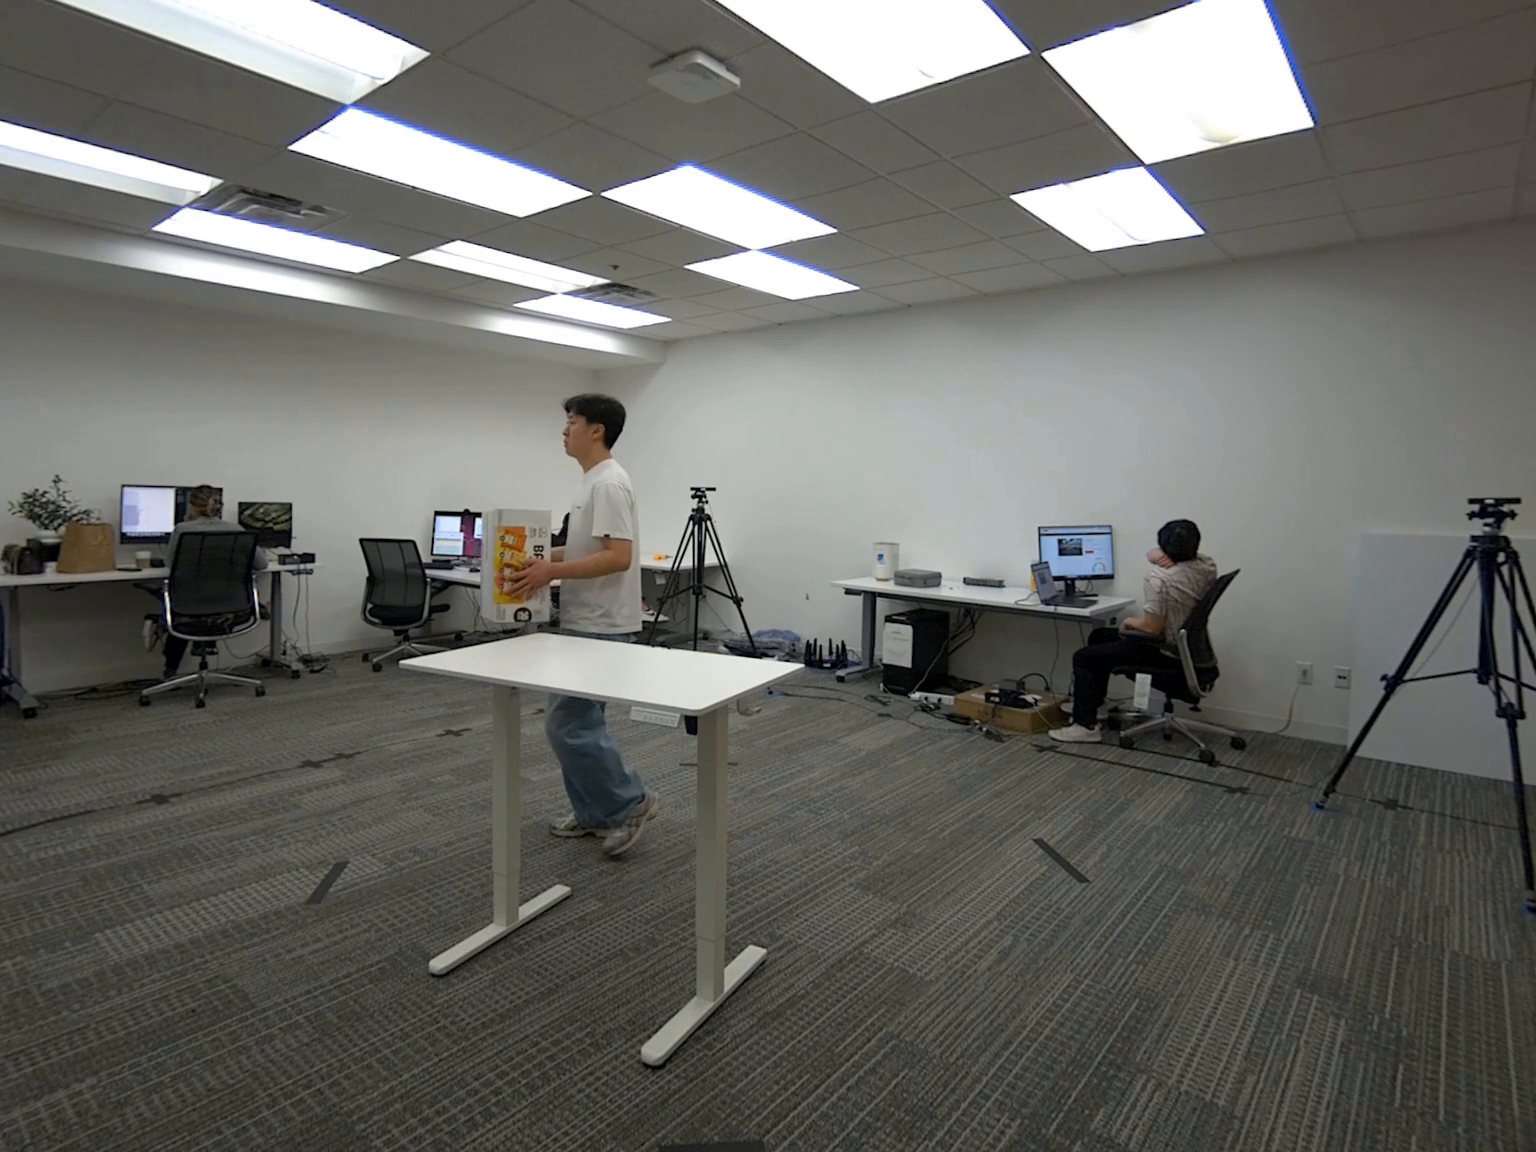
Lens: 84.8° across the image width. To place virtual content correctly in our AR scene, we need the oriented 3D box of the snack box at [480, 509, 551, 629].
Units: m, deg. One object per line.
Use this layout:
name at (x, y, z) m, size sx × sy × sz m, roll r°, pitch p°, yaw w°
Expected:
snack box at (-0.964, -0.044, 3.192) m, size 0.201 × 0.405 × 0.348 m, roll 1°, pitch 1°, yaw -25°
